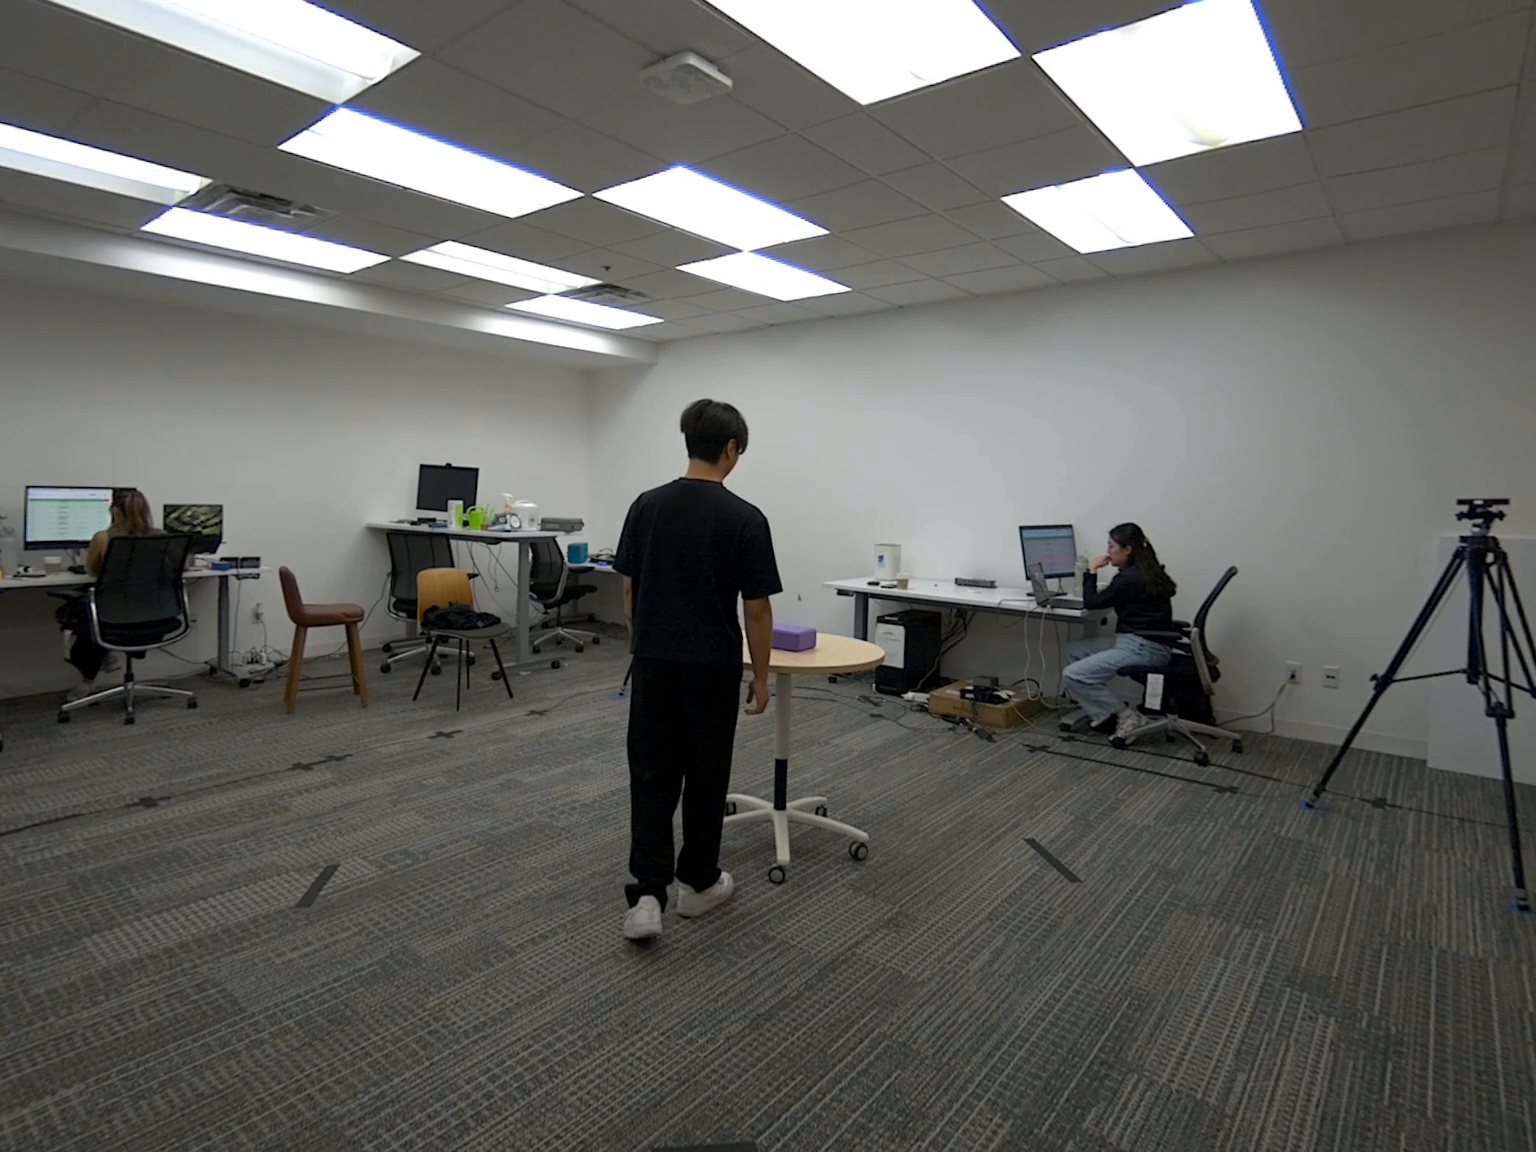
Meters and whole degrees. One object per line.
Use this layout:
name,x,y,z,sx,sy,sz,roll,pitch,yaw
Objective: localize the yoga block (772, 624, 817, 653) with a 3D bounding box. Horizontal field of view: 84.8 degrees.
yoga block,0.047,0.233,3.310,0.237,0.076,0.145,5,5,35
